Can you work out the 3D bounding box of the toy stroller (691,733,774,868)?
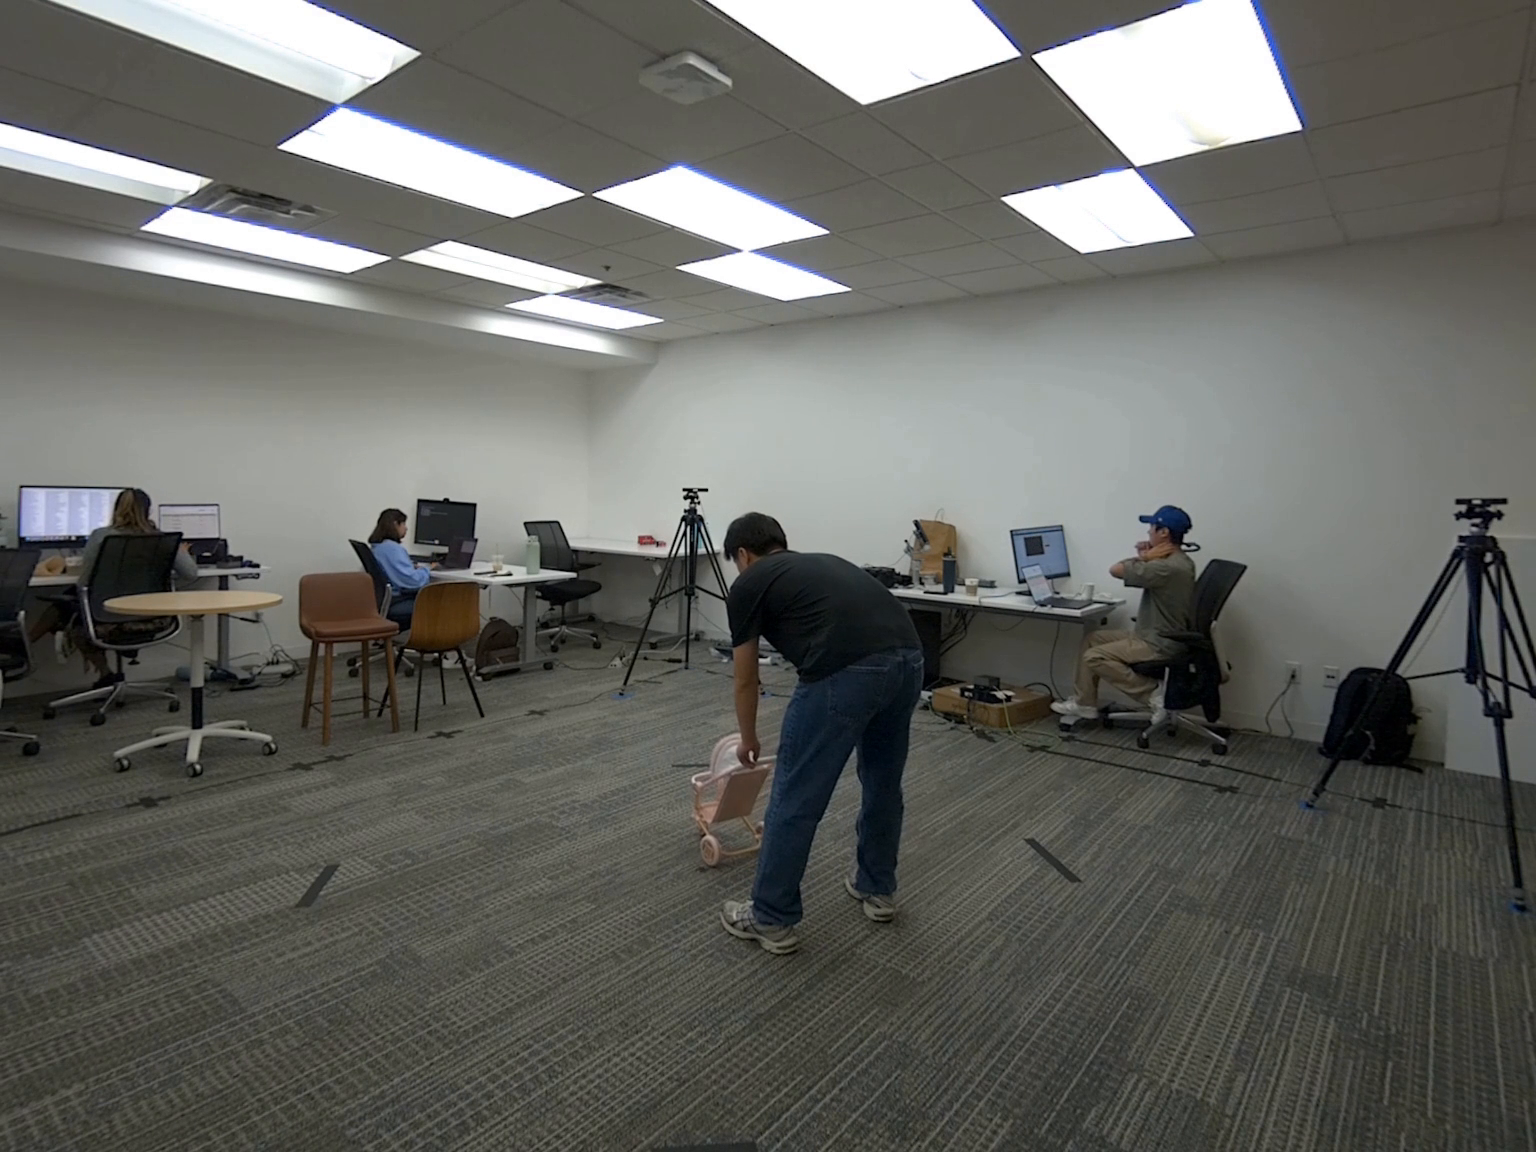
[{"bbox_3d":[-0.156,0.833,3.256,0.274,0.528,0.355,-1,21,-32],"label":"toy stroller"}]
